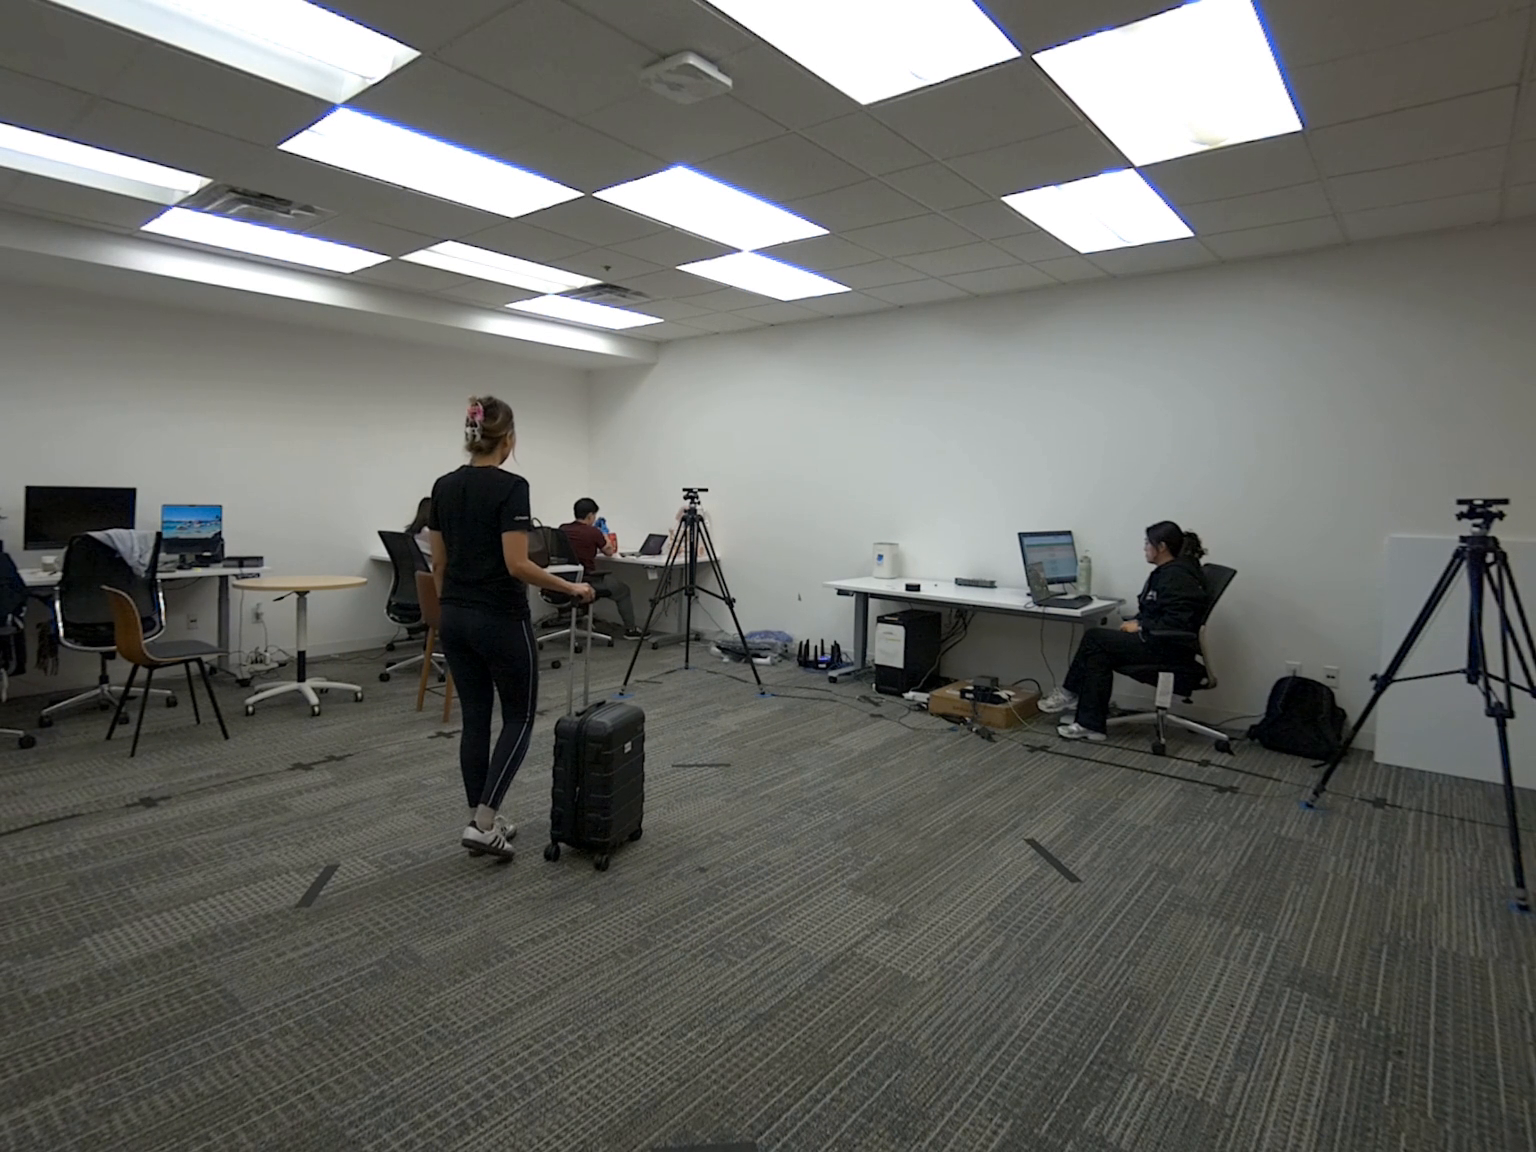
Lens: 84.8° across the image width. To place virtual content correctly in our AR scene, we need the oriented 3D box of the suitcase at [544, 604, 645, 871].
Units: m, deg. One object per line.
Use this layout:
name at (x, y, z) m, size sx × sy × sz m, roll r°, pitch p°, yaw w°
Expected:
suitcase at (-0.645, 0.576, 3.265) m, size 0.262 × 0.976 × 0.378 m, roll 5°, pitch 3°, yaw 15°
